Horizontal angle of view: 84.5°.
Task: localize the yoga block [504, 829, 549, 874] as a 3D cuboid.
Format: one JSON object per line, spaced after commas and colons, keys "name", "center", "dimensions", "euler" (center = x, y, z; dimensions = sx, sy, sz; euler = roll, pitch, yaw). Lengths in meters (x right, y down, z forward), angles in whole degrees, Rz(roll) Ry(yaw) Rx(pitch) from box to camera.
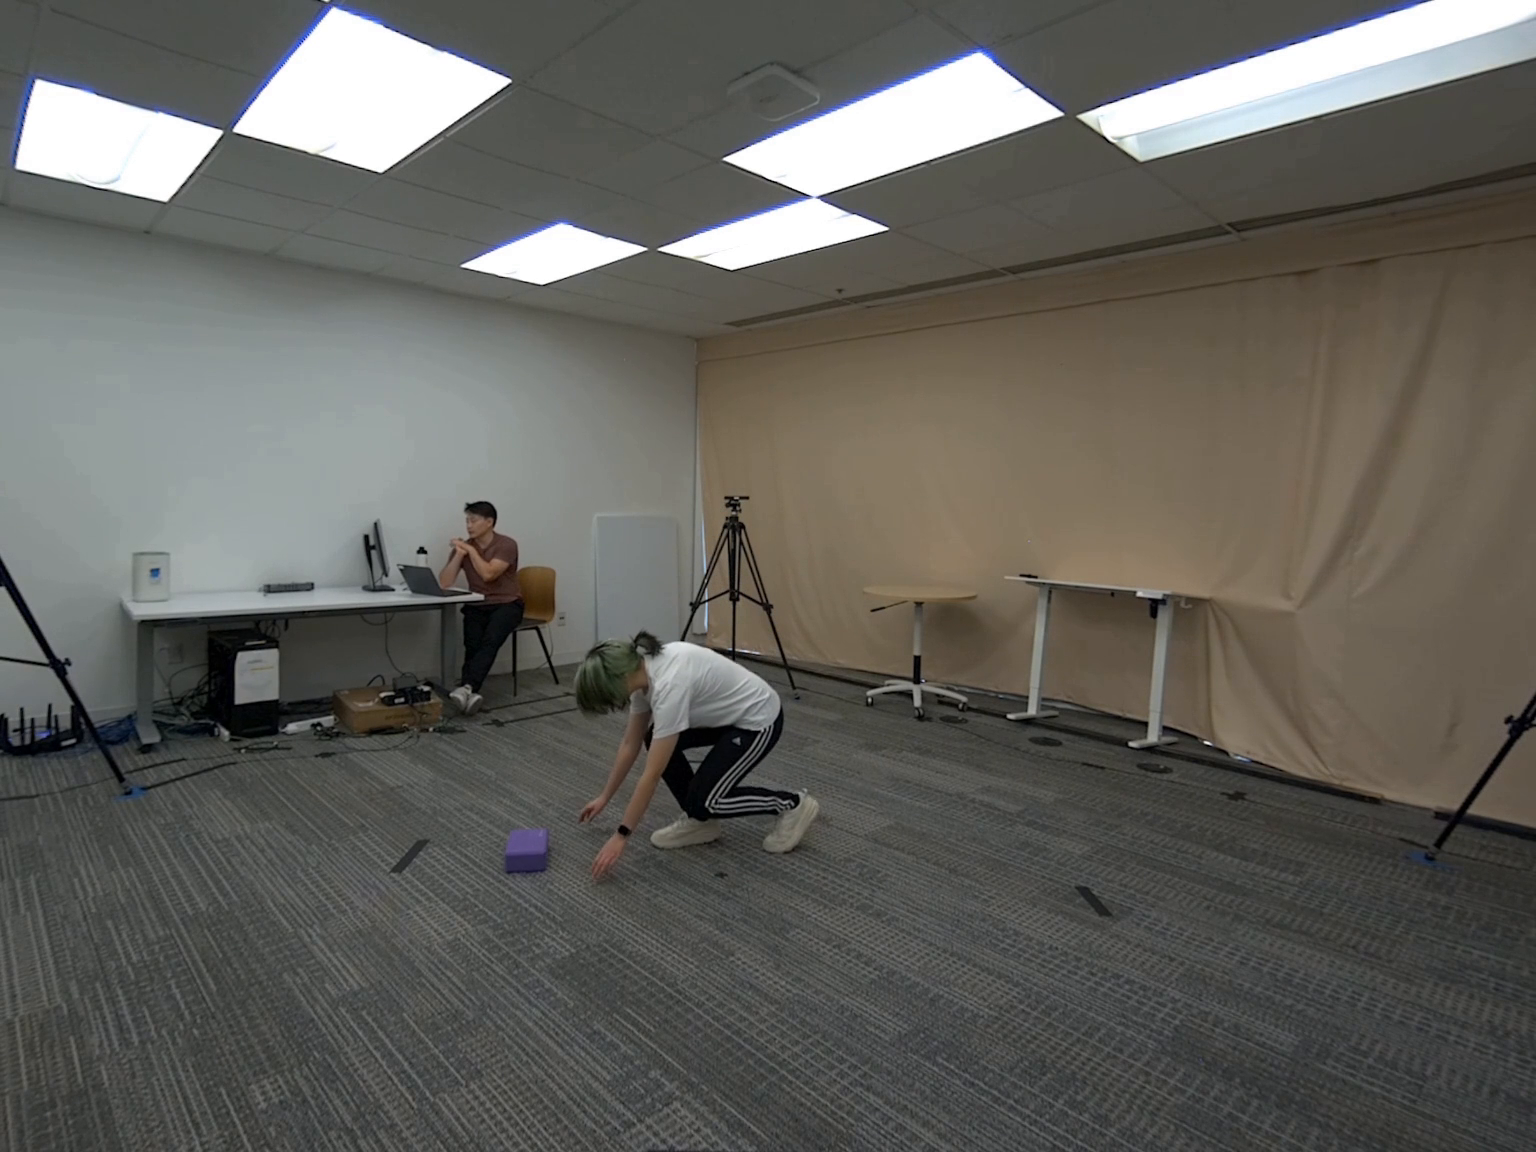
{"name": "yoga block", "center": [-0.917, 1.039, 3.189], "dimensions": [0.148, 0.076, 0.232], "euler": [-1, 6, -11]}
